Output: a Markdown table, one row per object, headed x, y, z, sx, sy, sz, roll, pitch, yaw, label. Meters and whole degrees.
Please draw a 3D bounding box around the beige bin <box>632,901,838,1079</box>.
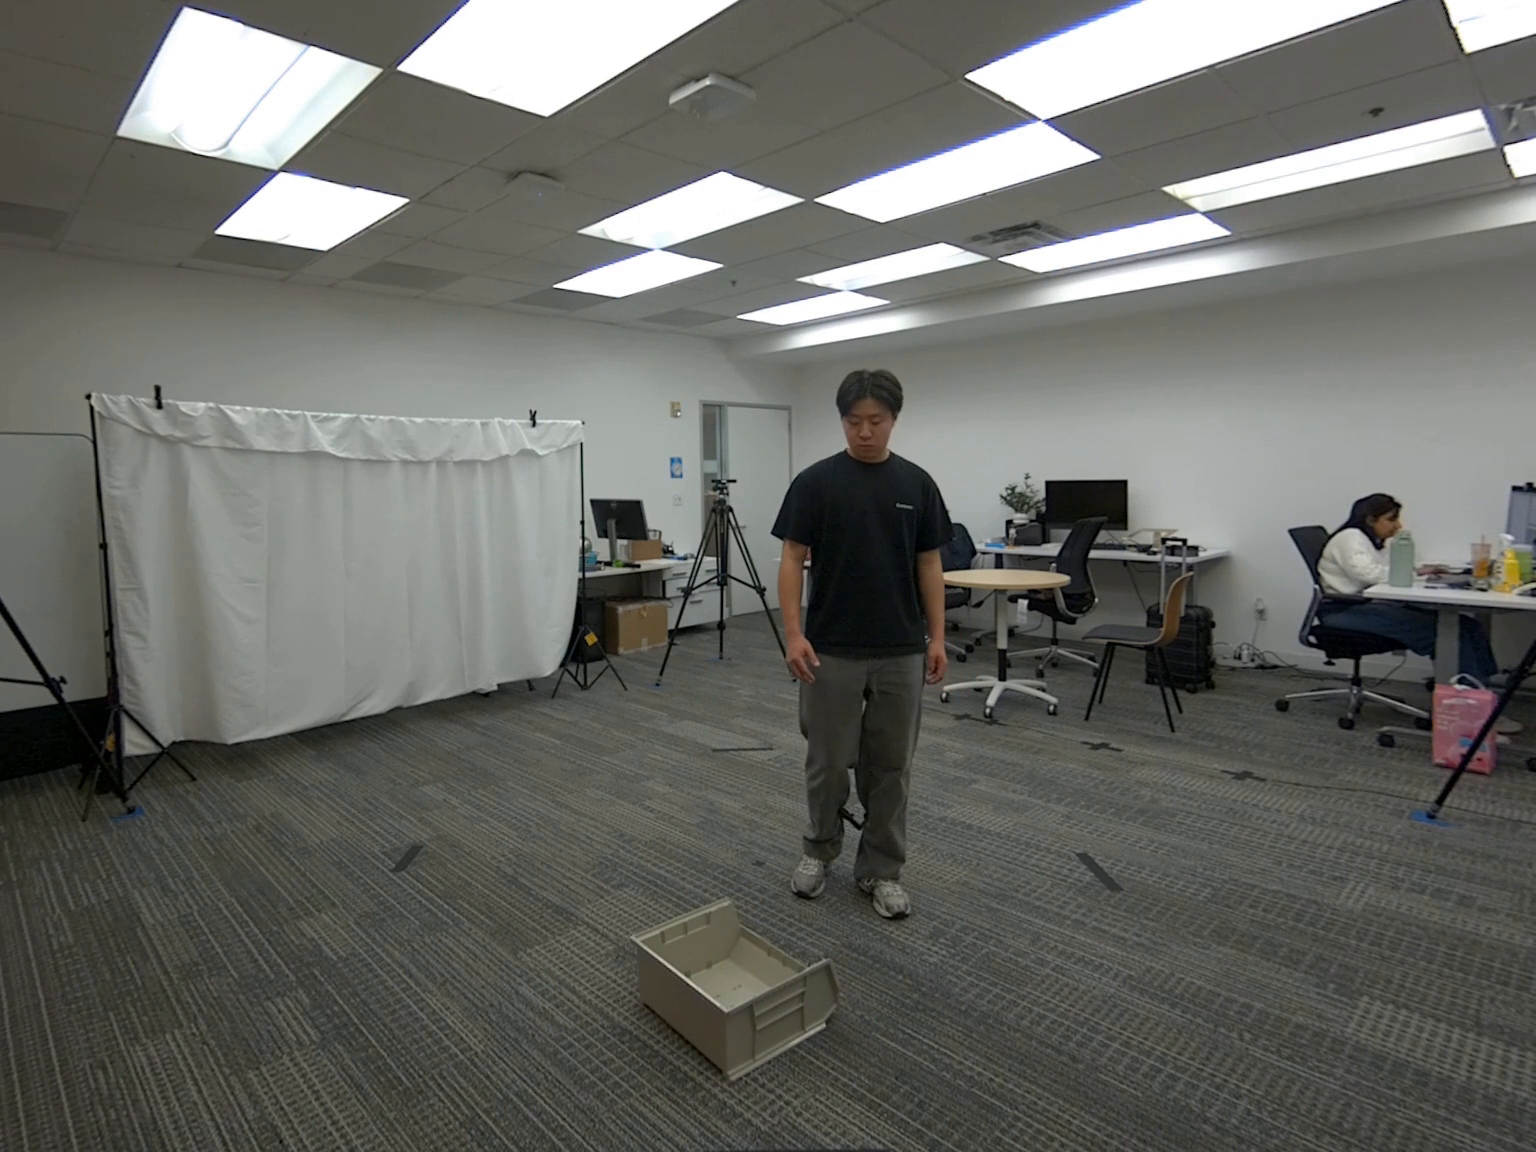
| x | y | z | sx | sy | sz | roll | pitch | yaw | label |
| --- | --- | --- | --- | --- | --- | --- | --- | --- | --- |
| -0.085 | 1.059 | 2.250 | 0.368 | 0.188 | 0.435 | -7 | 9 | -39 | beige bin |
